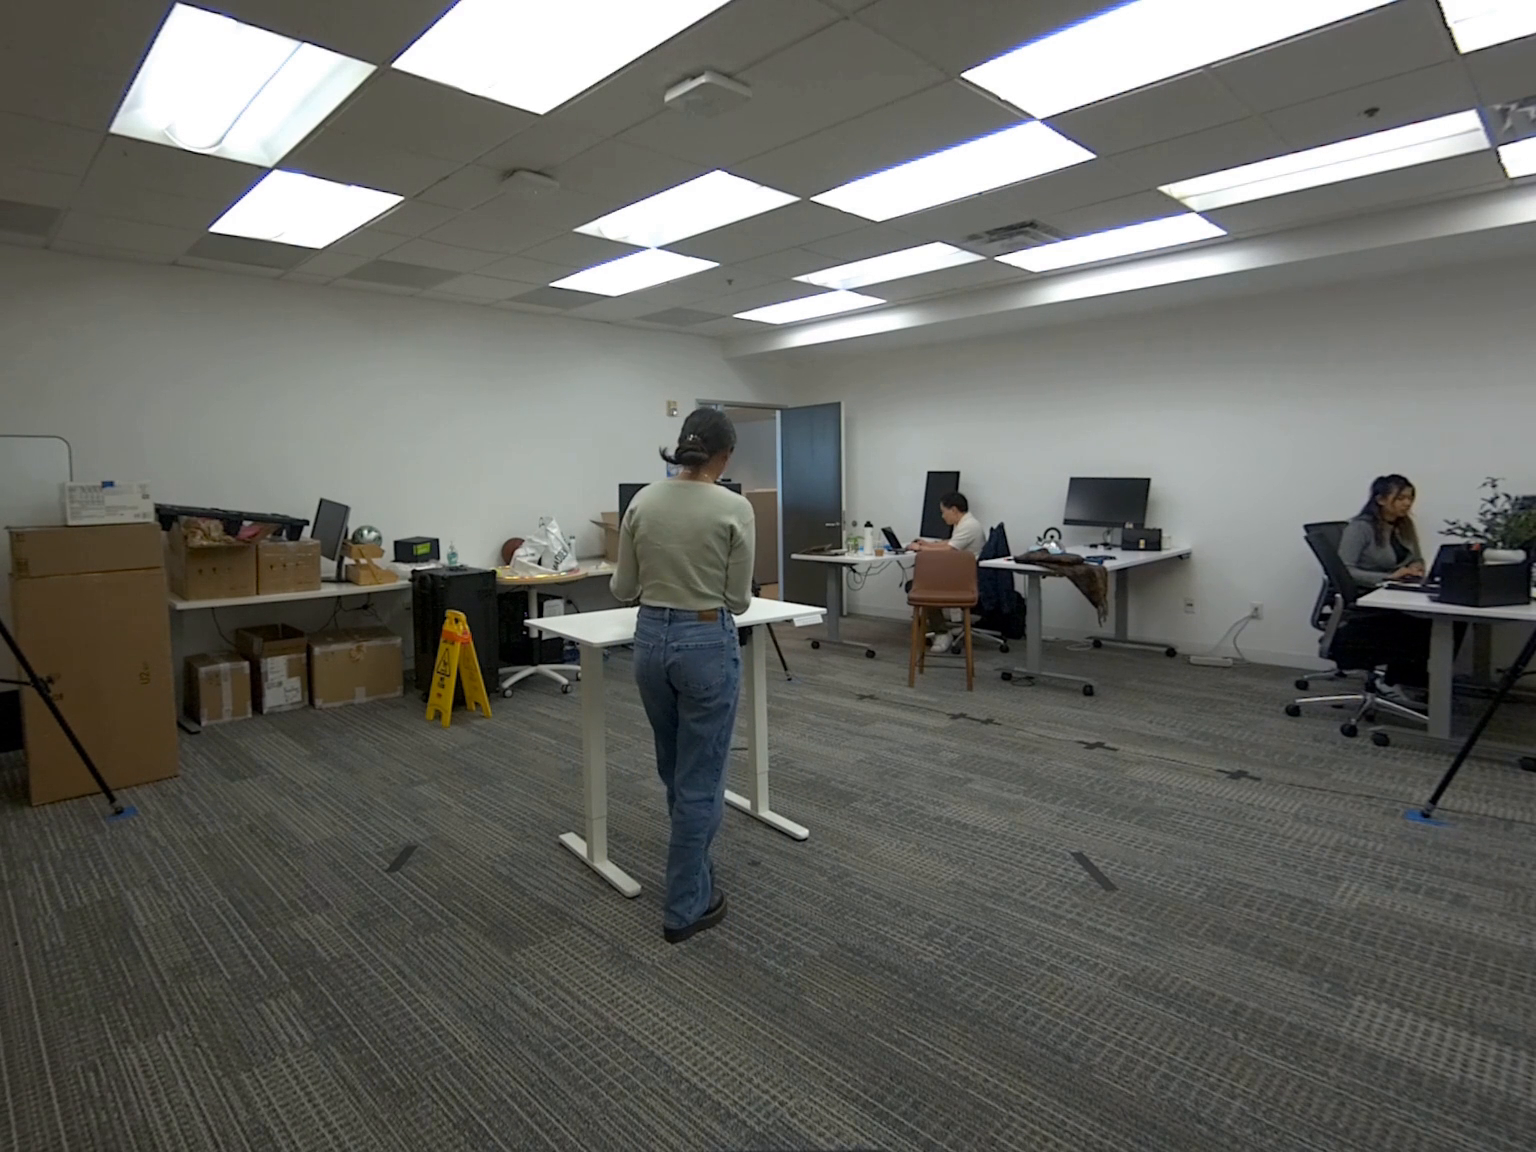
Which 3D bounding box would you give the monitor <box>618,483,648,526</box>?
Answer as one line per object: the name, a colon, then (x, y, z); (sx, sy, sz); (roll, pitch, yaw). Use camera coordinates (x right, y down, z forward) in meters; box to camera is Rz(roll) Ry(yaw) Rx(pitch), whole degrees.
monitor: (-0.327, -0.086, 3.185); (0.525, 0.519, 0.193); (-4, 10, -40)
